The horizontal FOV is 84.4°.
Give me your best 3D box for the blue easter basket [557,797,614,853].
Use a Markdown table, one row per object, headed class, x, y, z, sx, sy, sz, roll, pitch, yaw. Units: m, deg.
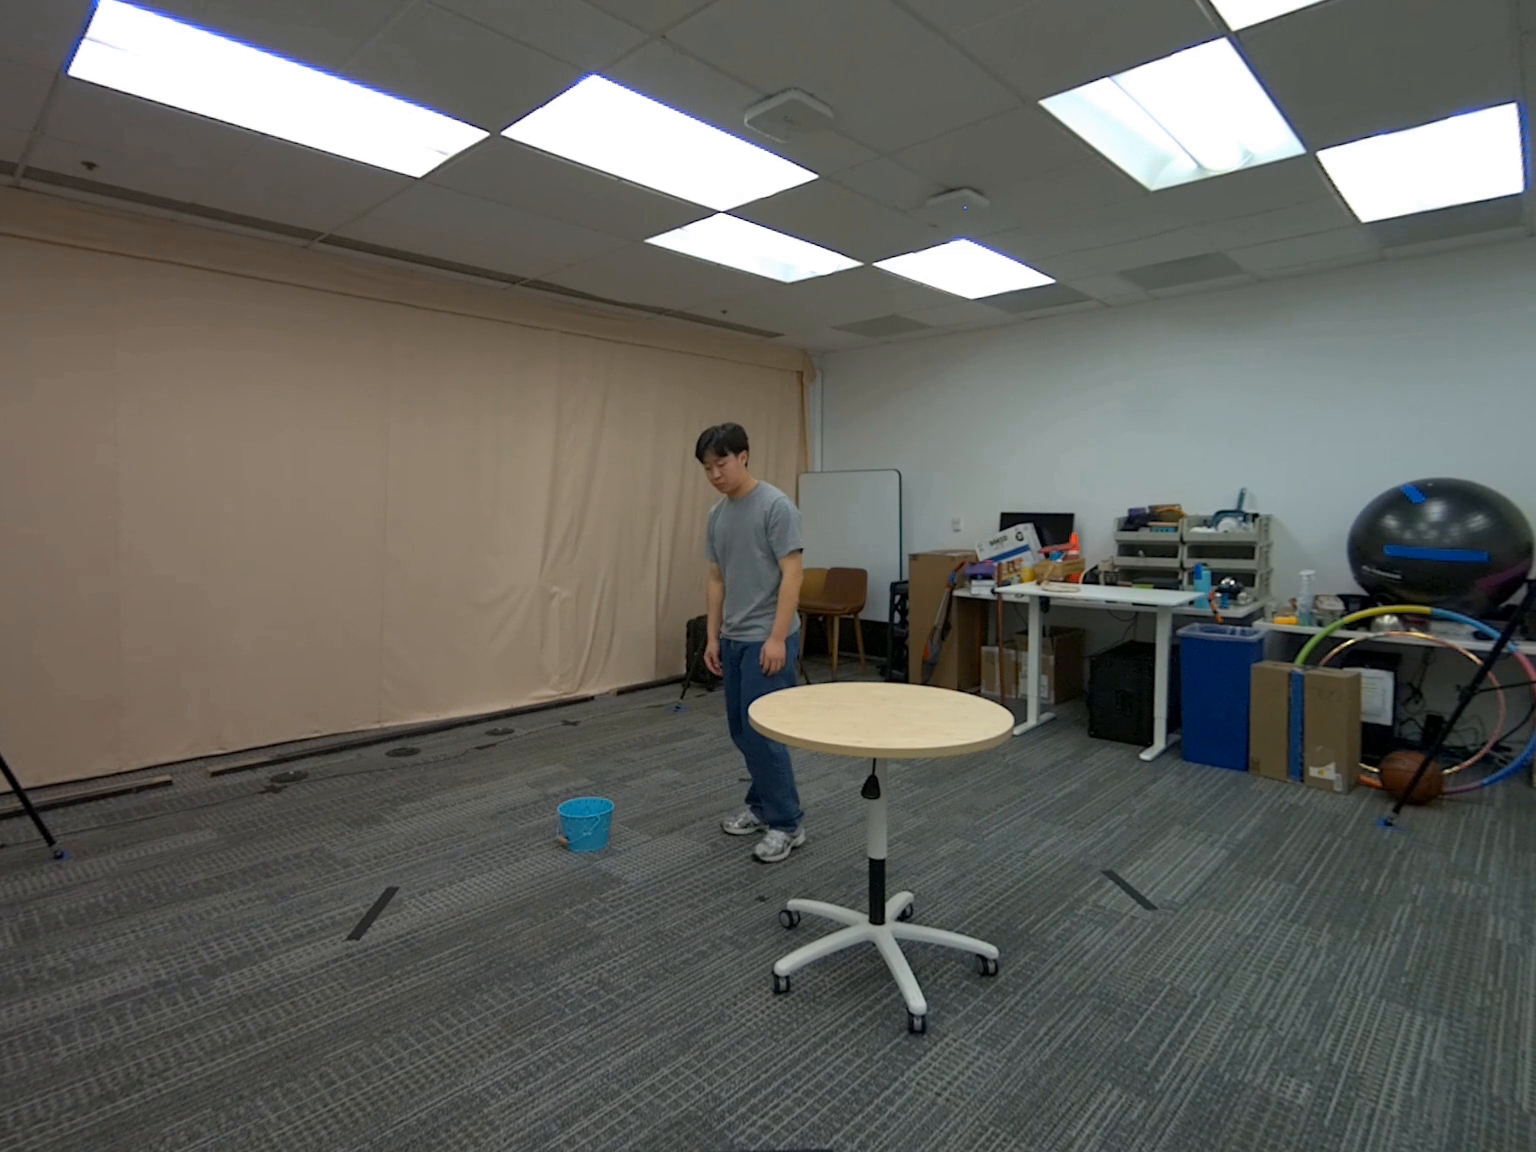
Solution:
| class | x | y | z | sx | sy | sz | roll | pitch | yaw |
| --- | --- | --- | --- | --- | --- | --- | --- | --- | --- |
| blue easter basket | -0.760 | 1.034 | 3.499 | 0.243 | 0.155 | 0.244 | 0 | 3 | -2 |
